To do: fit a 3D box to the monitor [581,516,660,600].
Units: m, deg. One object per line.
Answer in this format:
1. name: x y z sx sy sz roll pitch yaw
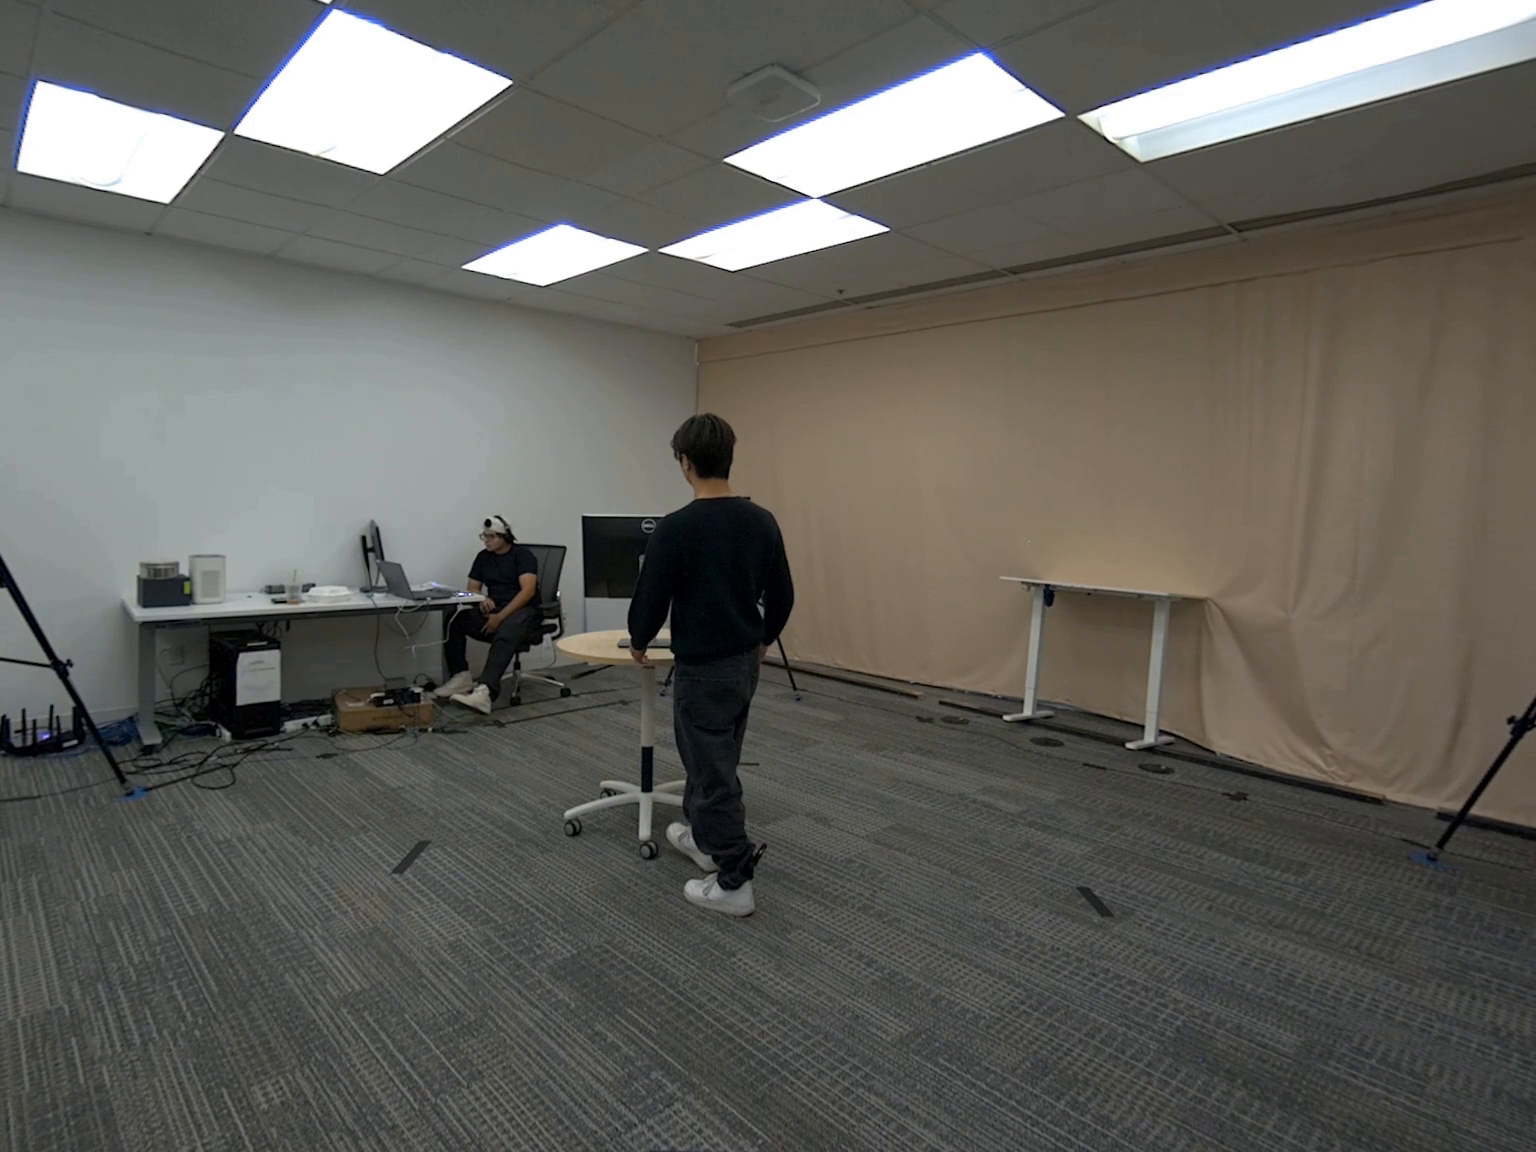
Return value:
1. monitor: -0.497 0.017 3.498 0.528 0.516 0.175 0 -1 -4
